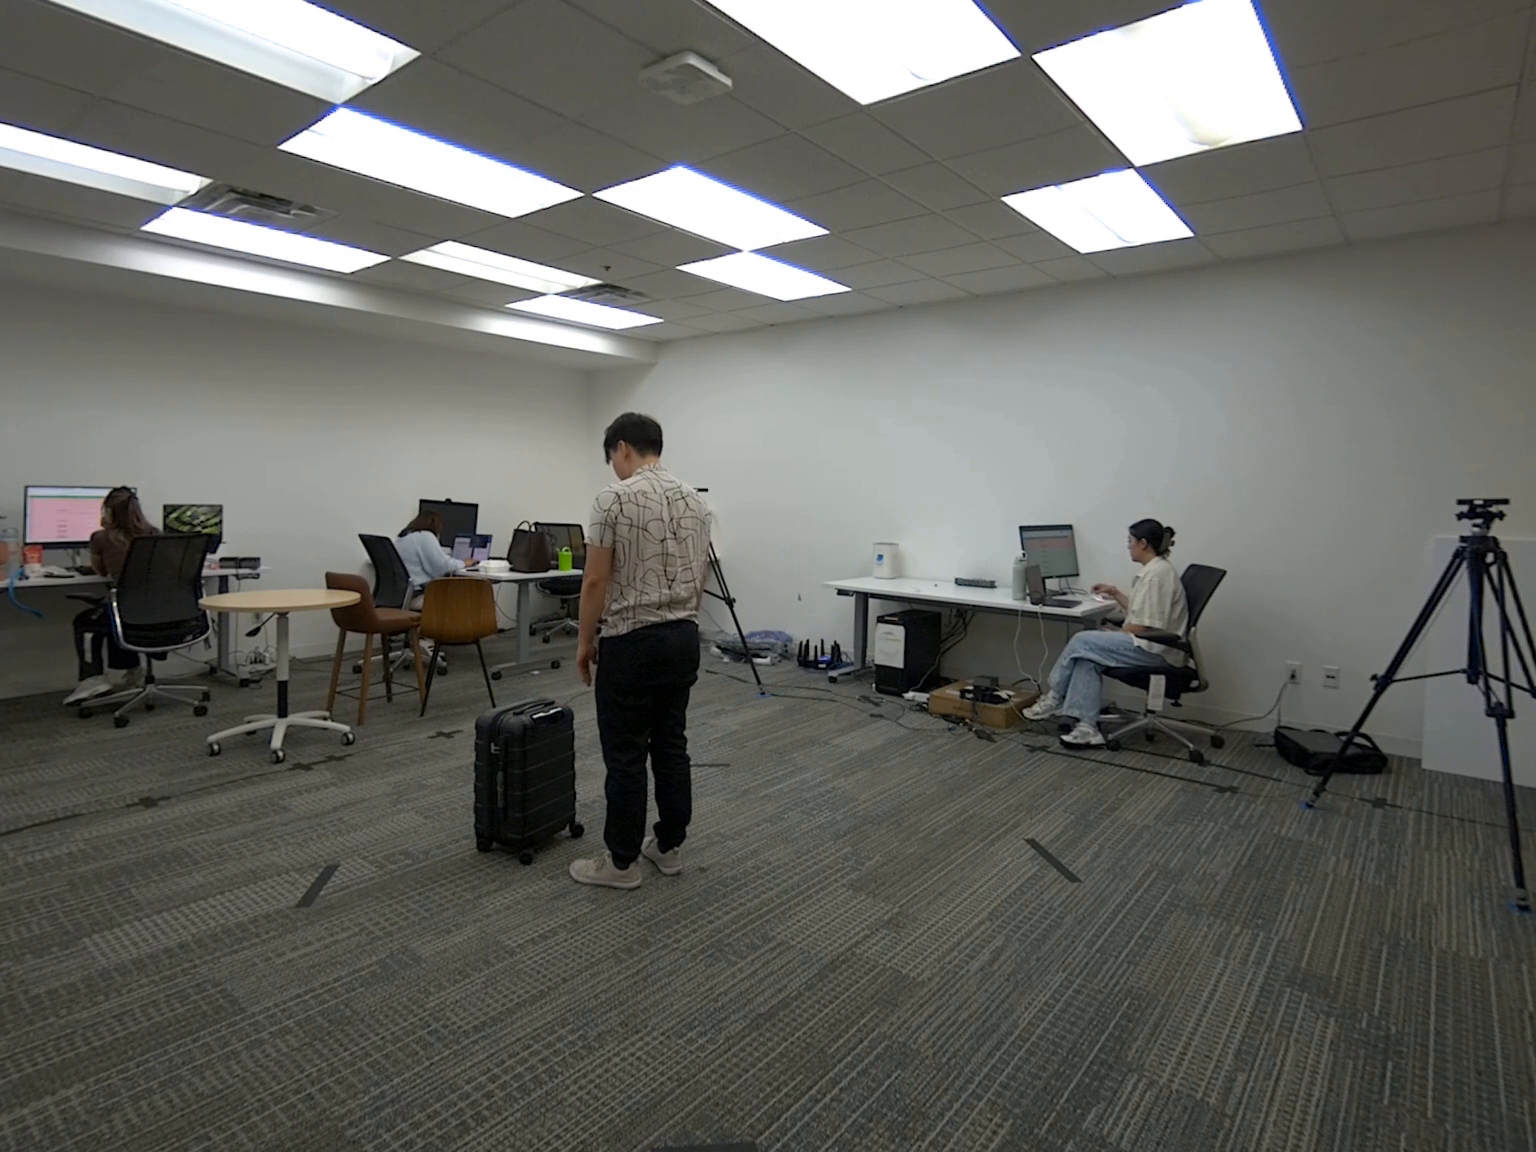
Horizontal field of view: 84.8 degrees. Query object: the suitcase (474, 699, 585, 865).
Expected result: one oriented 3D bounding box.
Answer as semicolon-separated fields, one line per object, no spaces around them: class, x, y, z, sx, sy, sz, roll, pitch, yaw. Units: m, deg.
suitcase;-0.955;0.764;3.302;0.255;0.548;0.366;0;3;30
